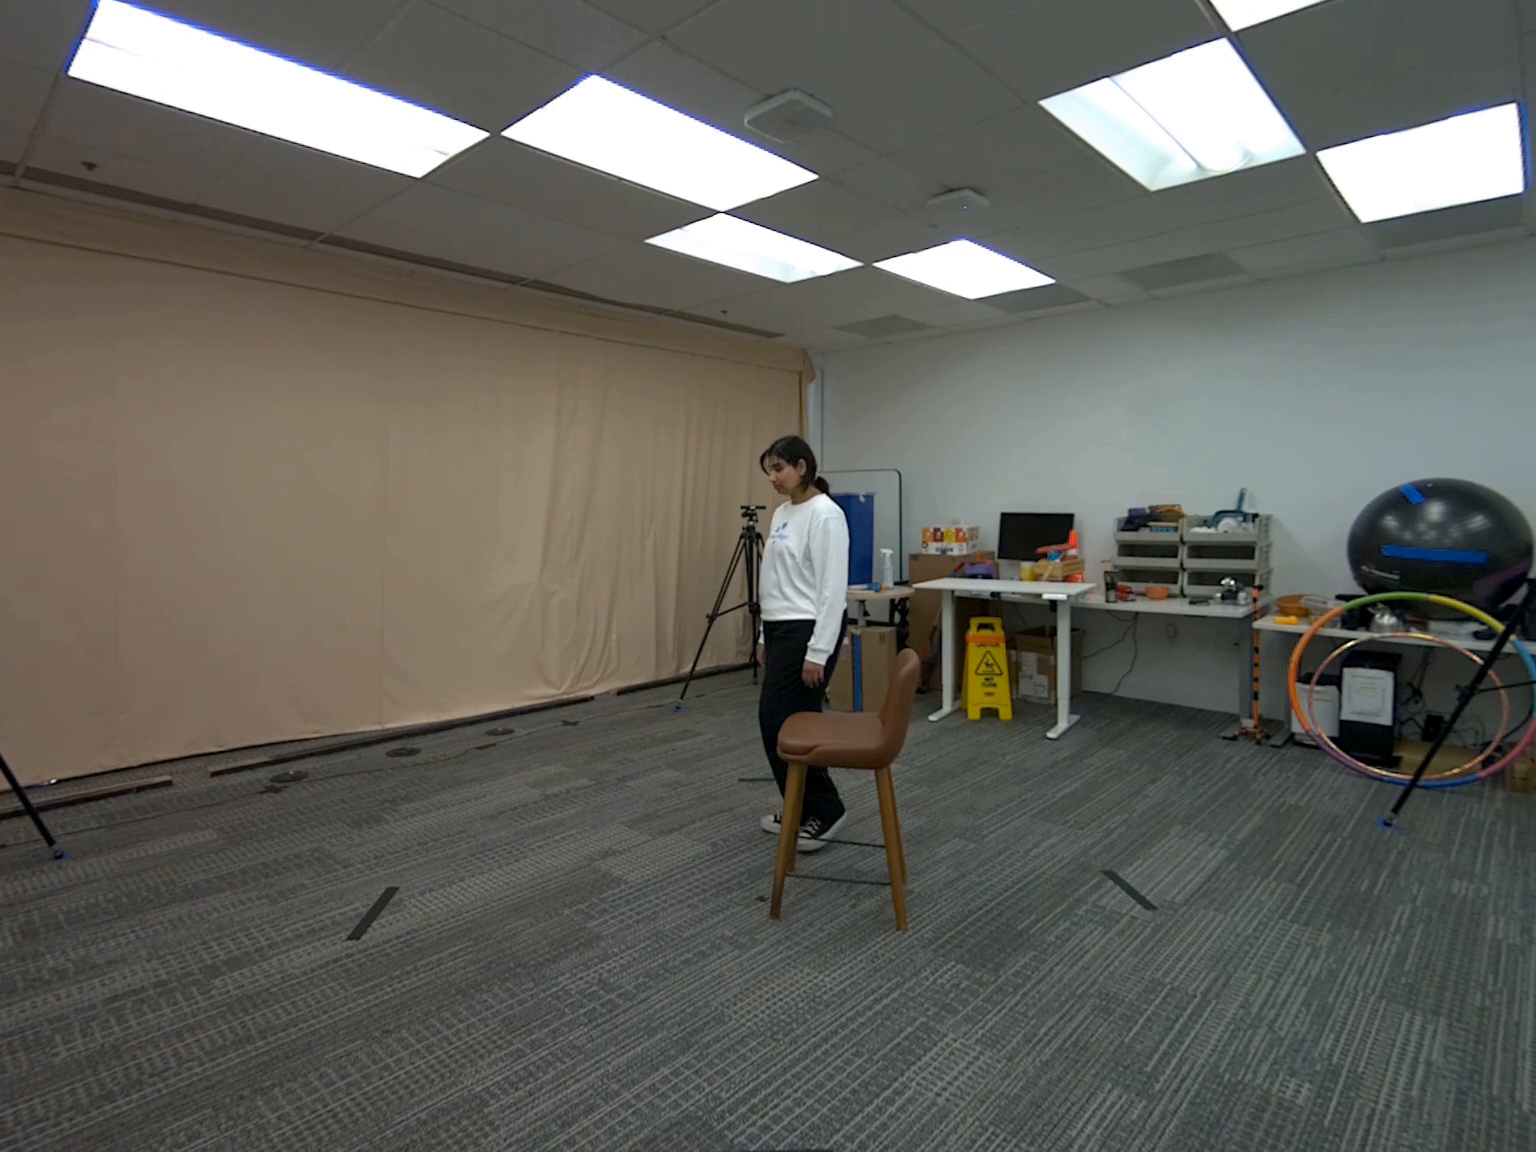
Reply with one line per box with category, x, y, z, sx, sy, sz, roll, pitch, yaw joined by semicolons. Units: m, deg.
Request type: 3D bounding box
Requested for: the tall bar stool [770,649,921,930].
tall bar stool;0.277;0.711;2.961;0.474;0.888;0.451;2;4;12
